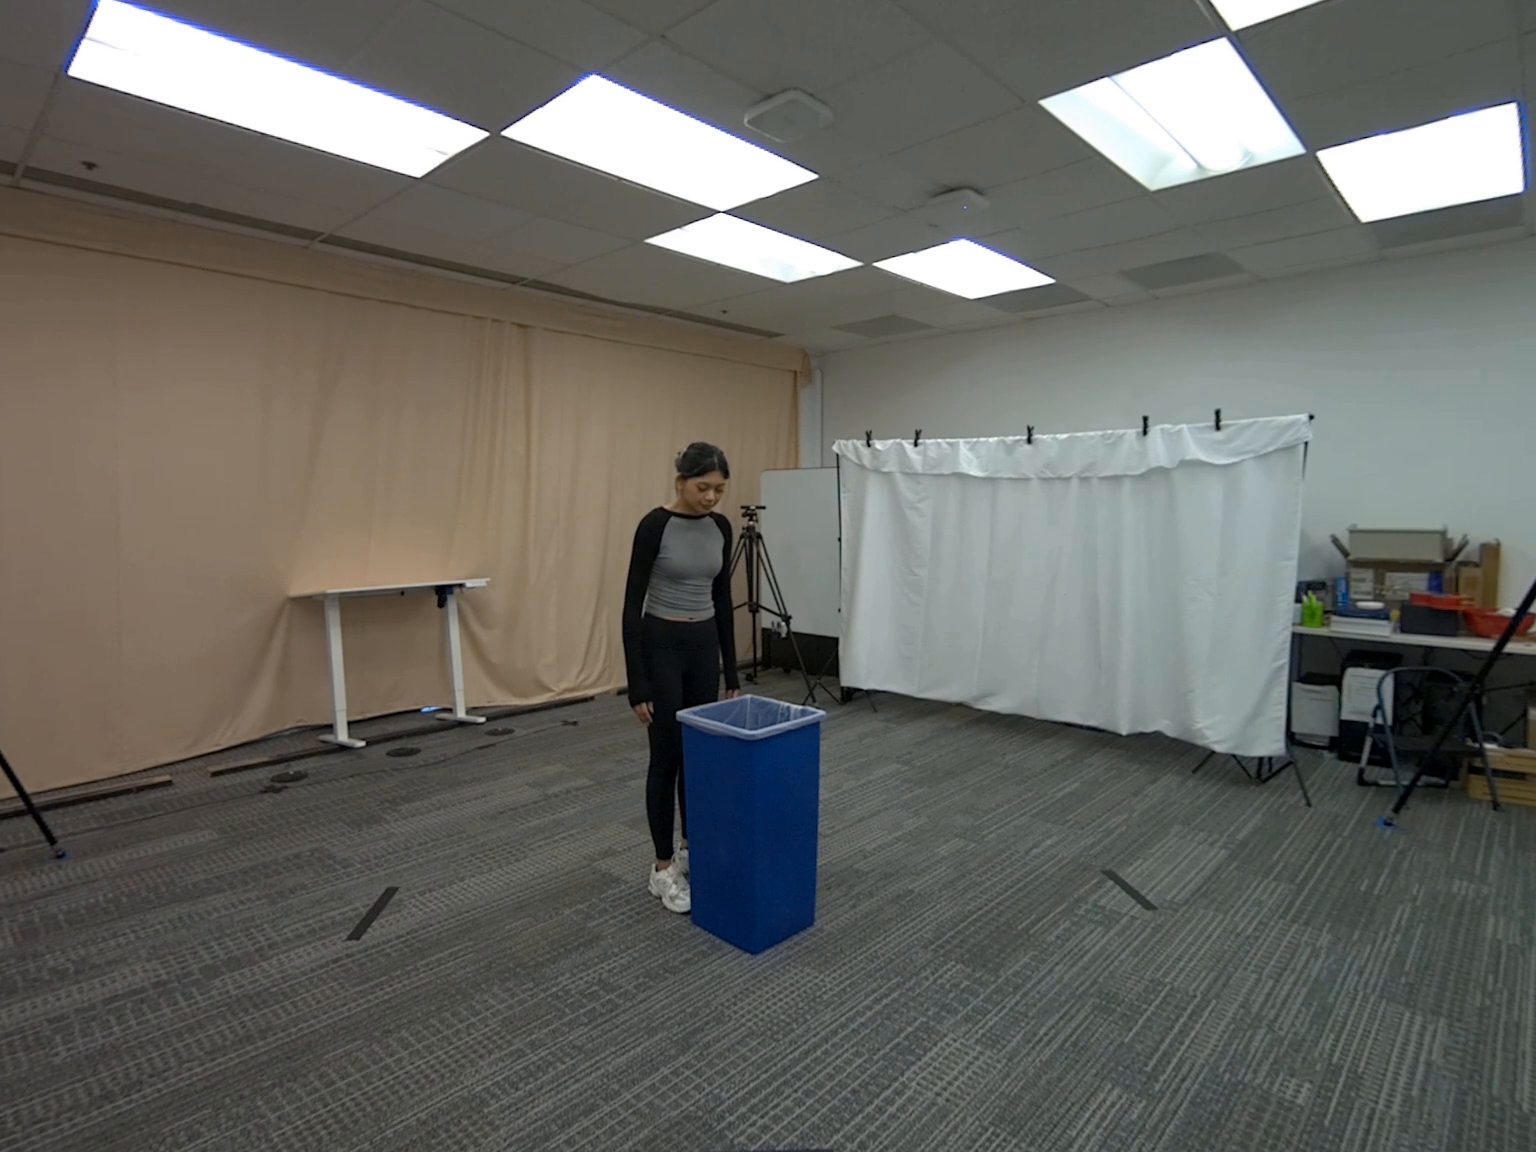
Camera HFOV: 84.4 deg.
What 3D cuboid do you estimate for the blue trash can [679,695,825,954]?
[{"bbox_3d":[-0.049,0.802,2.785,0.390,0.712,0.362,3,4,44],"label":"blue trash can"}]
